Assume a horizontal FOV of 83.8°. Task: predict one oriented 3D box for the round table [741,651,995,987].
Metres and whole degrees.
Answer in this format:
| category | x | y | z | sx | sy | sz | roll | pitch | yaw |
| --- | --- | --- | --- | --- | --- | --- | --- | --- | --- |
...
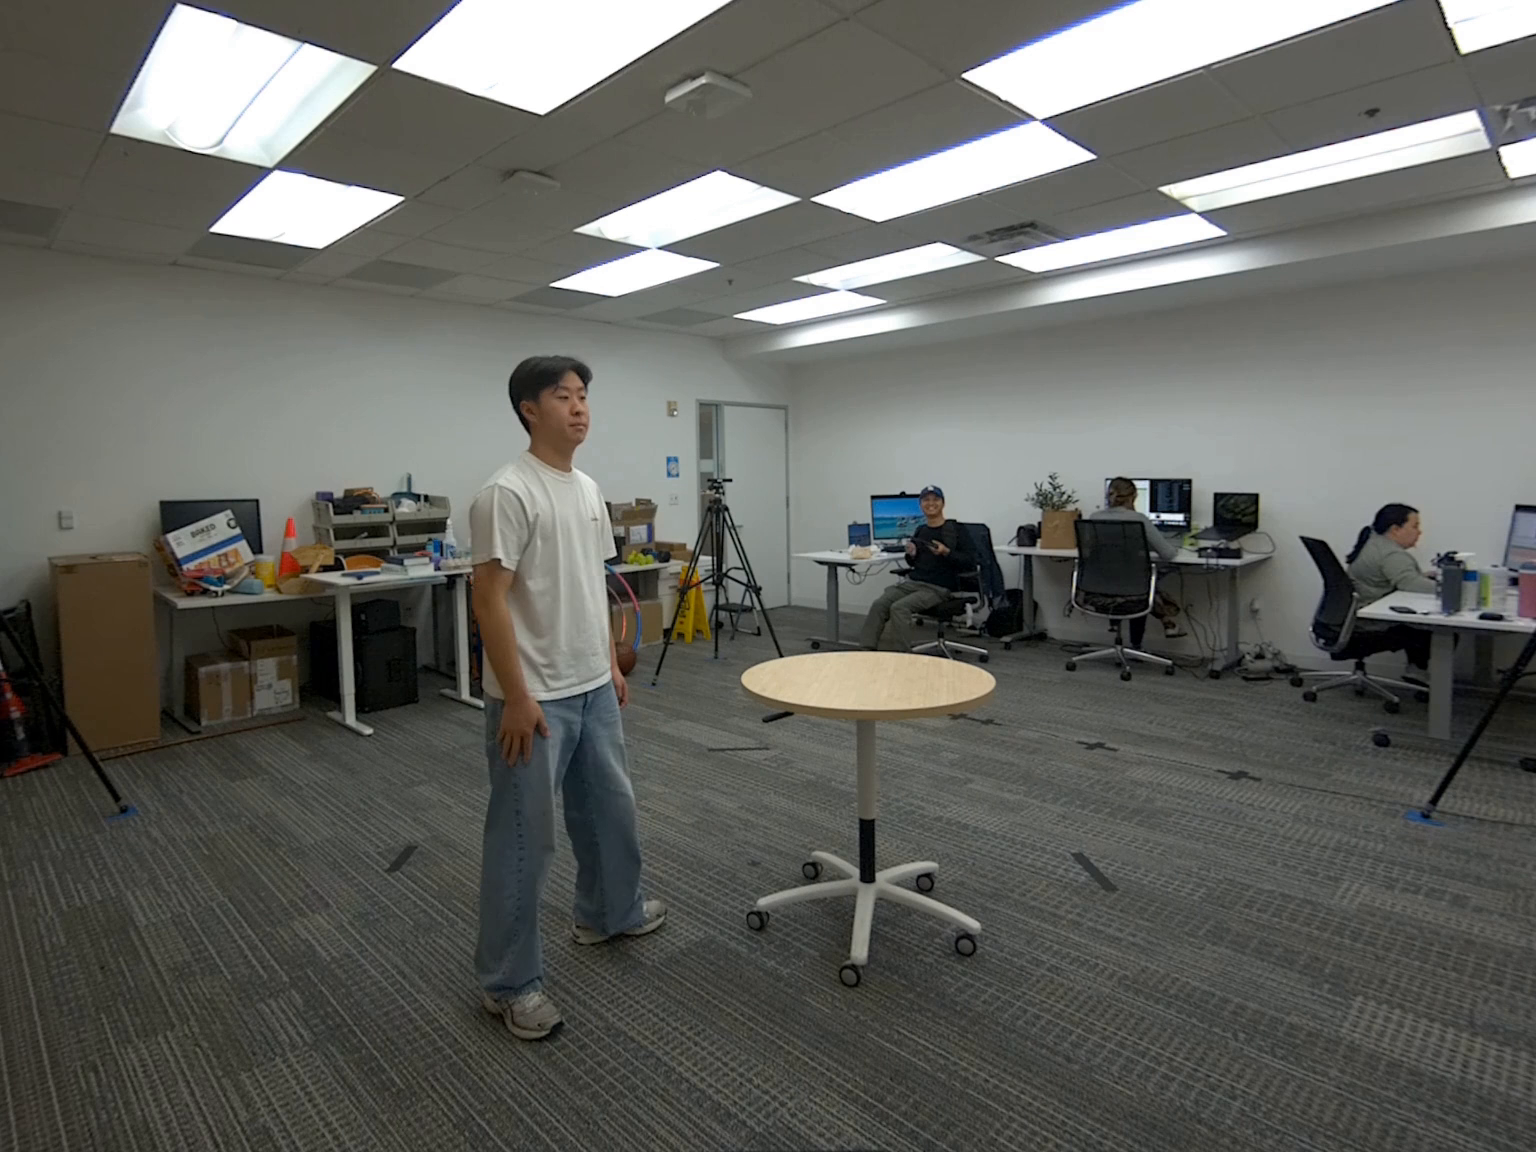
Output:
| category | x | y | z | sx | sy | sz | roll | pitch | yaw |
| --- | --- | --- | --- | --- | --- | --- | --- | --- | --- |
| round table | 0.308 | 0.701 | 2.659 | 0.763 | 0.791 | 0.768 | -1 | 5 | -2 |
